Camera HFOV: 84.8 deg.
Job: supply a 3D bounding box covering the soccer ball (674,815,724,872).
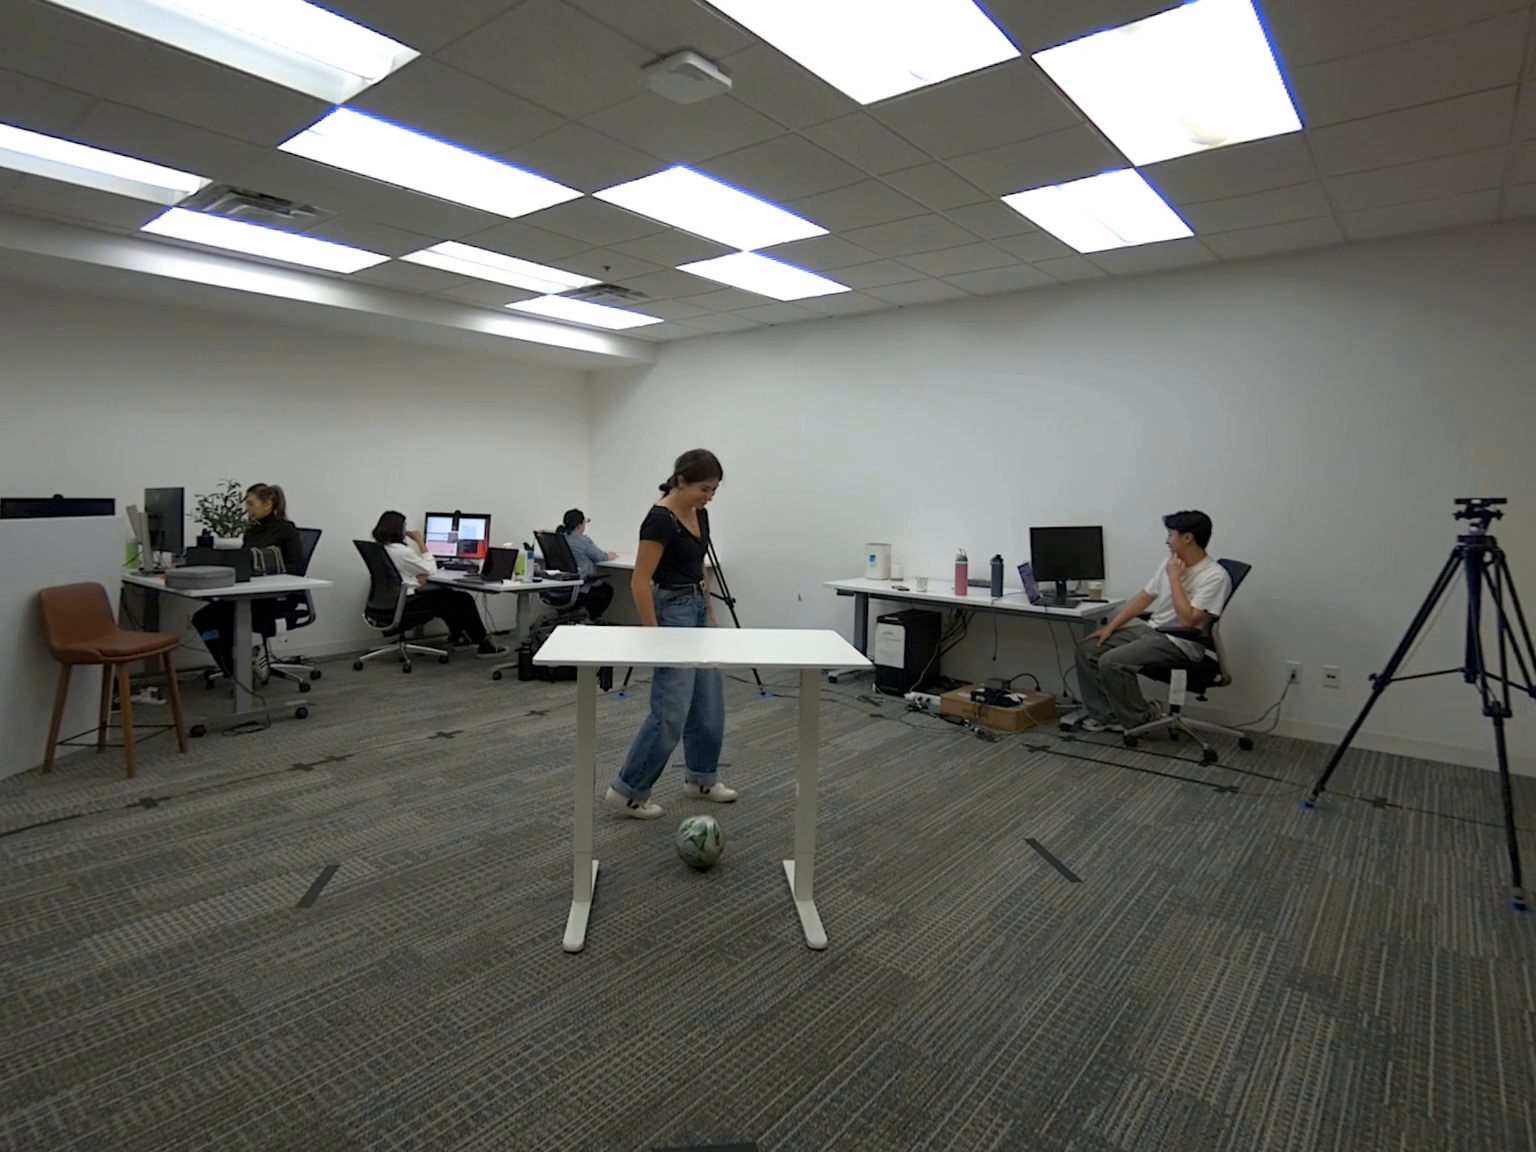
[{"bbox_3d":[-0.254,0.971,3.144,0.187,0.187,0.188,1,4,-2],"label":"soccer ball"}]
